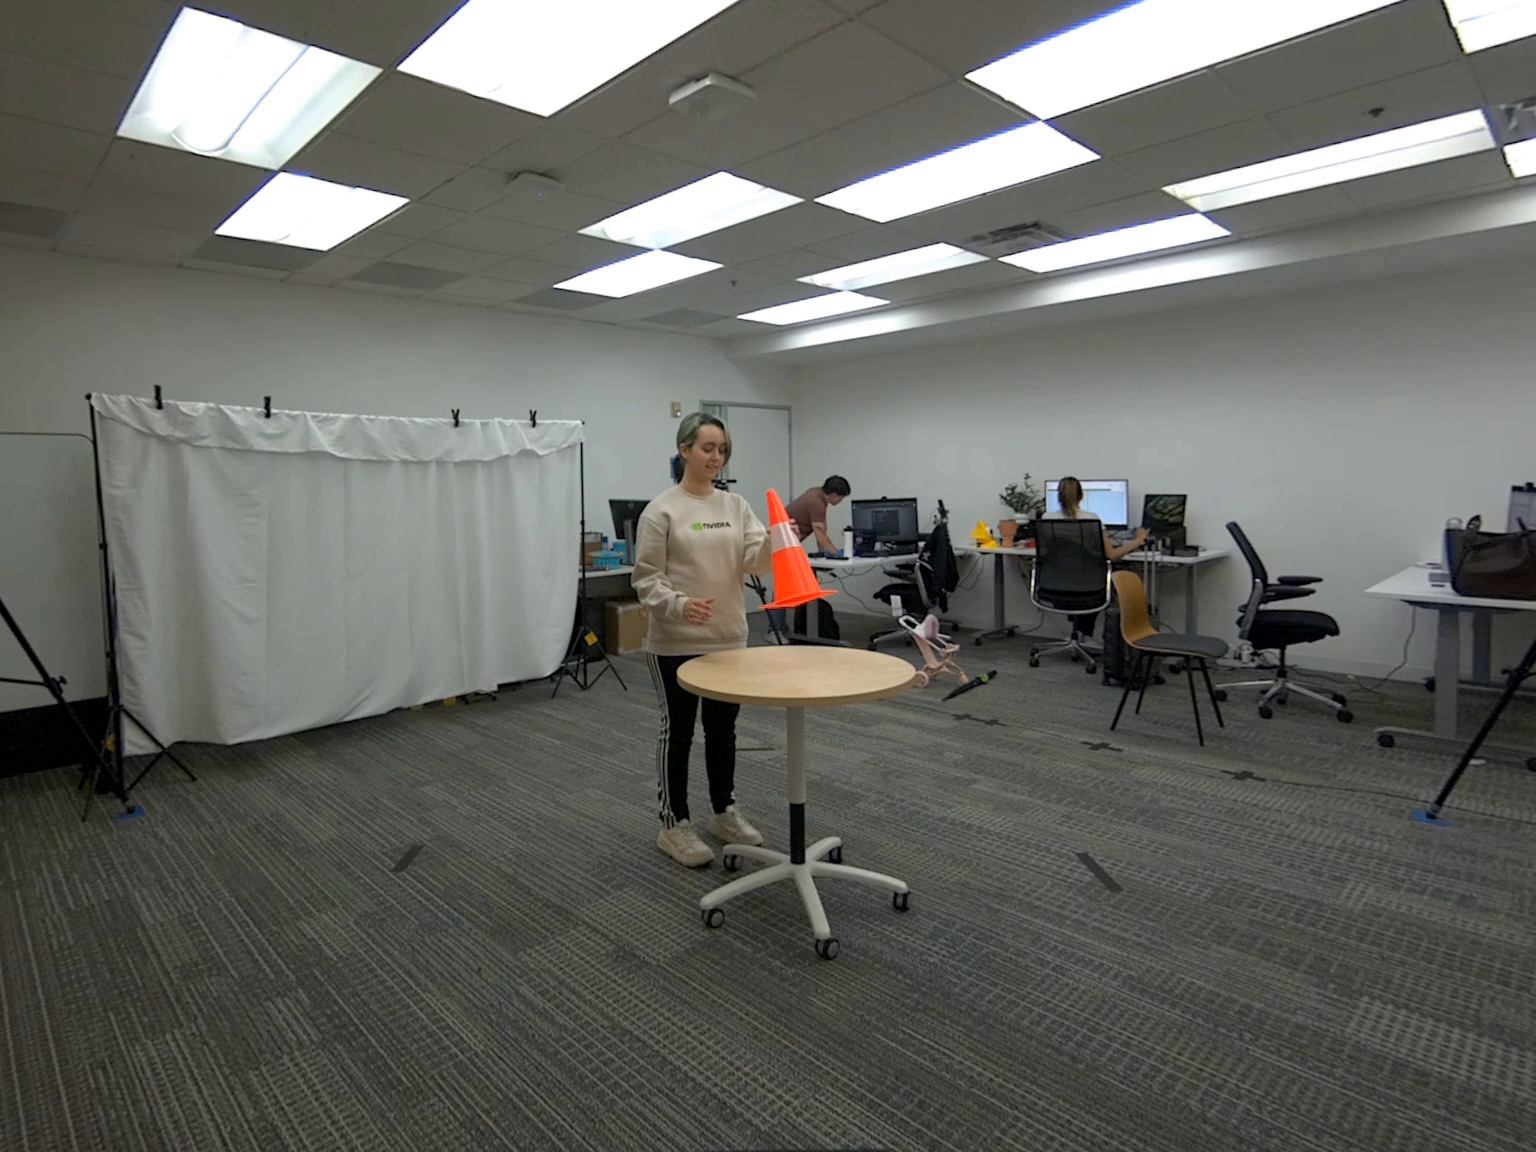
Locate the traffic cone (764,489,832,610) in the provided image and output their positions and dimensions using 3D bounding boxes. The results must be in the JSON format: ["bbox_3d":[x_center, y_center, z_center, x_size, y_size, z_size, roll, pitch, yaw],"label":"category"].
[{"bbox_3d":[0.054,-0.092,2.836,0.199,0.388,0.206,-4,-14,-45],"label":"traffic cone"}]
